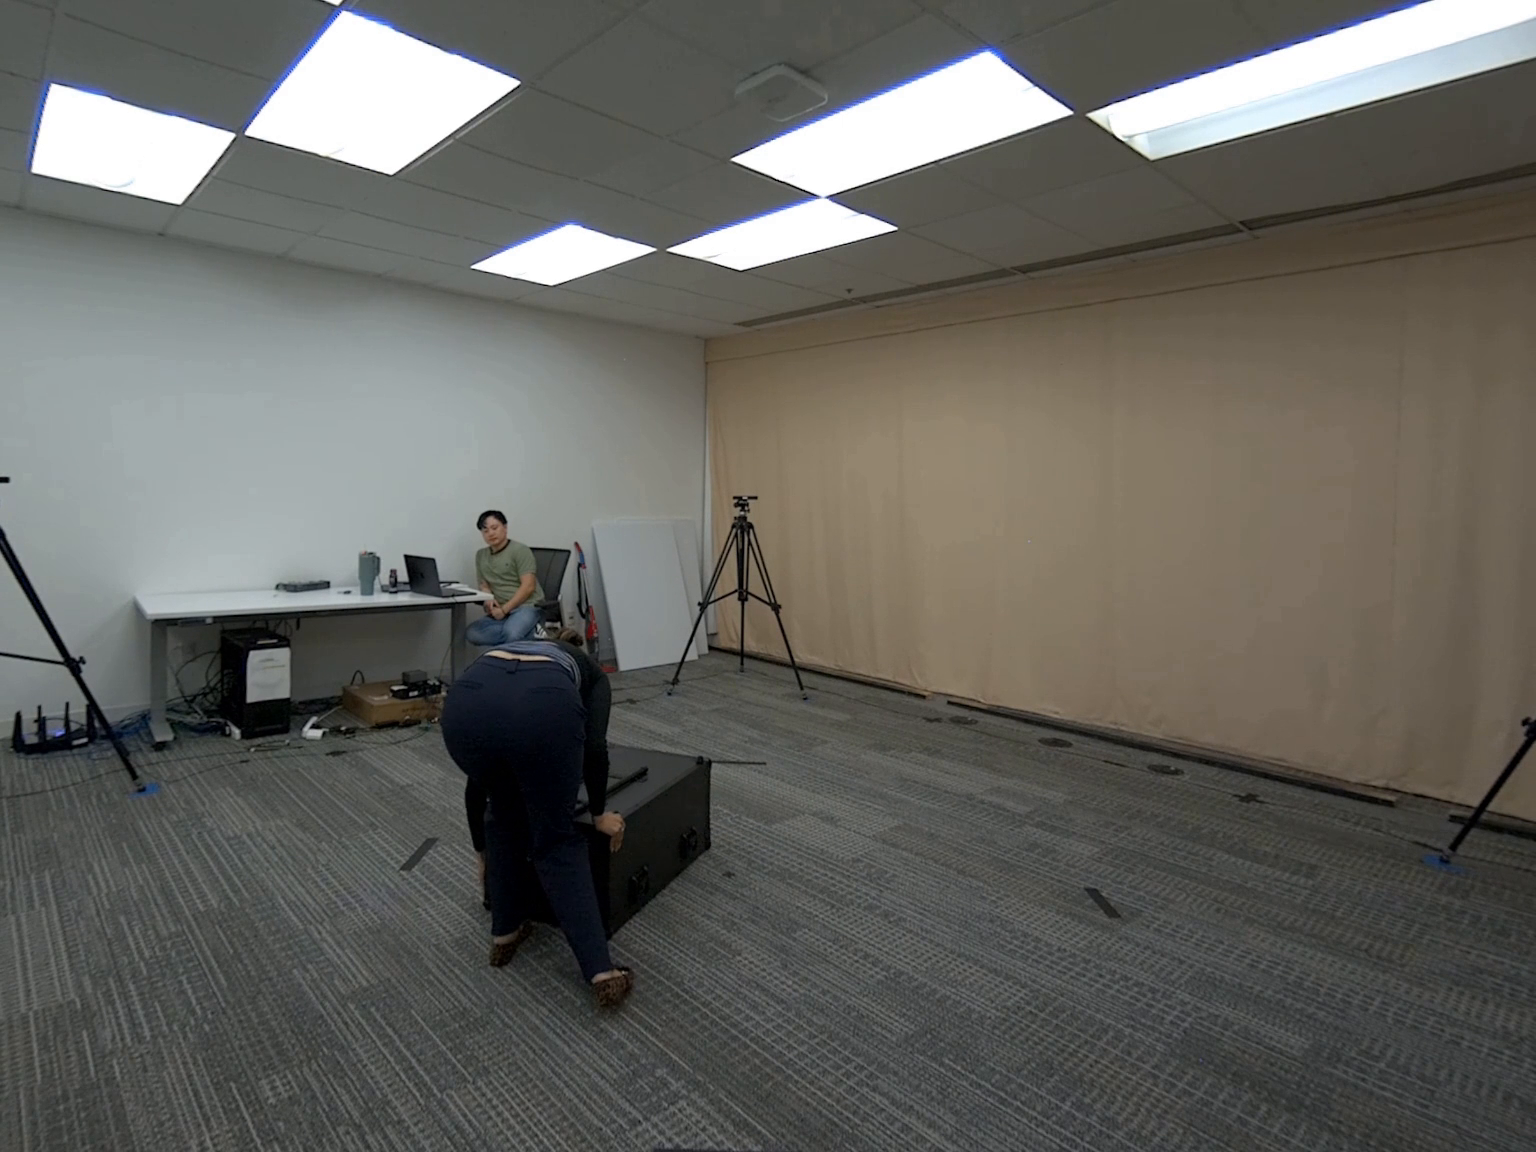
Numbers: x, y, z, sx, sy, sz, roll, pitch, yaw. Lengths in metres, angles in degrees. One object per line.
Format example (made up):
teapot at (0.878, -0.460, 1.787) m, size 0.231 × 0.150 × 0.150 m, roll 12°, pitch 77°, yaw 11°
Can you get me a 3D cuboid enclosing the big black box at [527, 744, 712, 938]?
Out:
big black box at (-0.575, 0.900, 3.100) m, size 0.530 × 0.395 × 0.848 m, roll 3°, pitch 4°, yaw 21°
